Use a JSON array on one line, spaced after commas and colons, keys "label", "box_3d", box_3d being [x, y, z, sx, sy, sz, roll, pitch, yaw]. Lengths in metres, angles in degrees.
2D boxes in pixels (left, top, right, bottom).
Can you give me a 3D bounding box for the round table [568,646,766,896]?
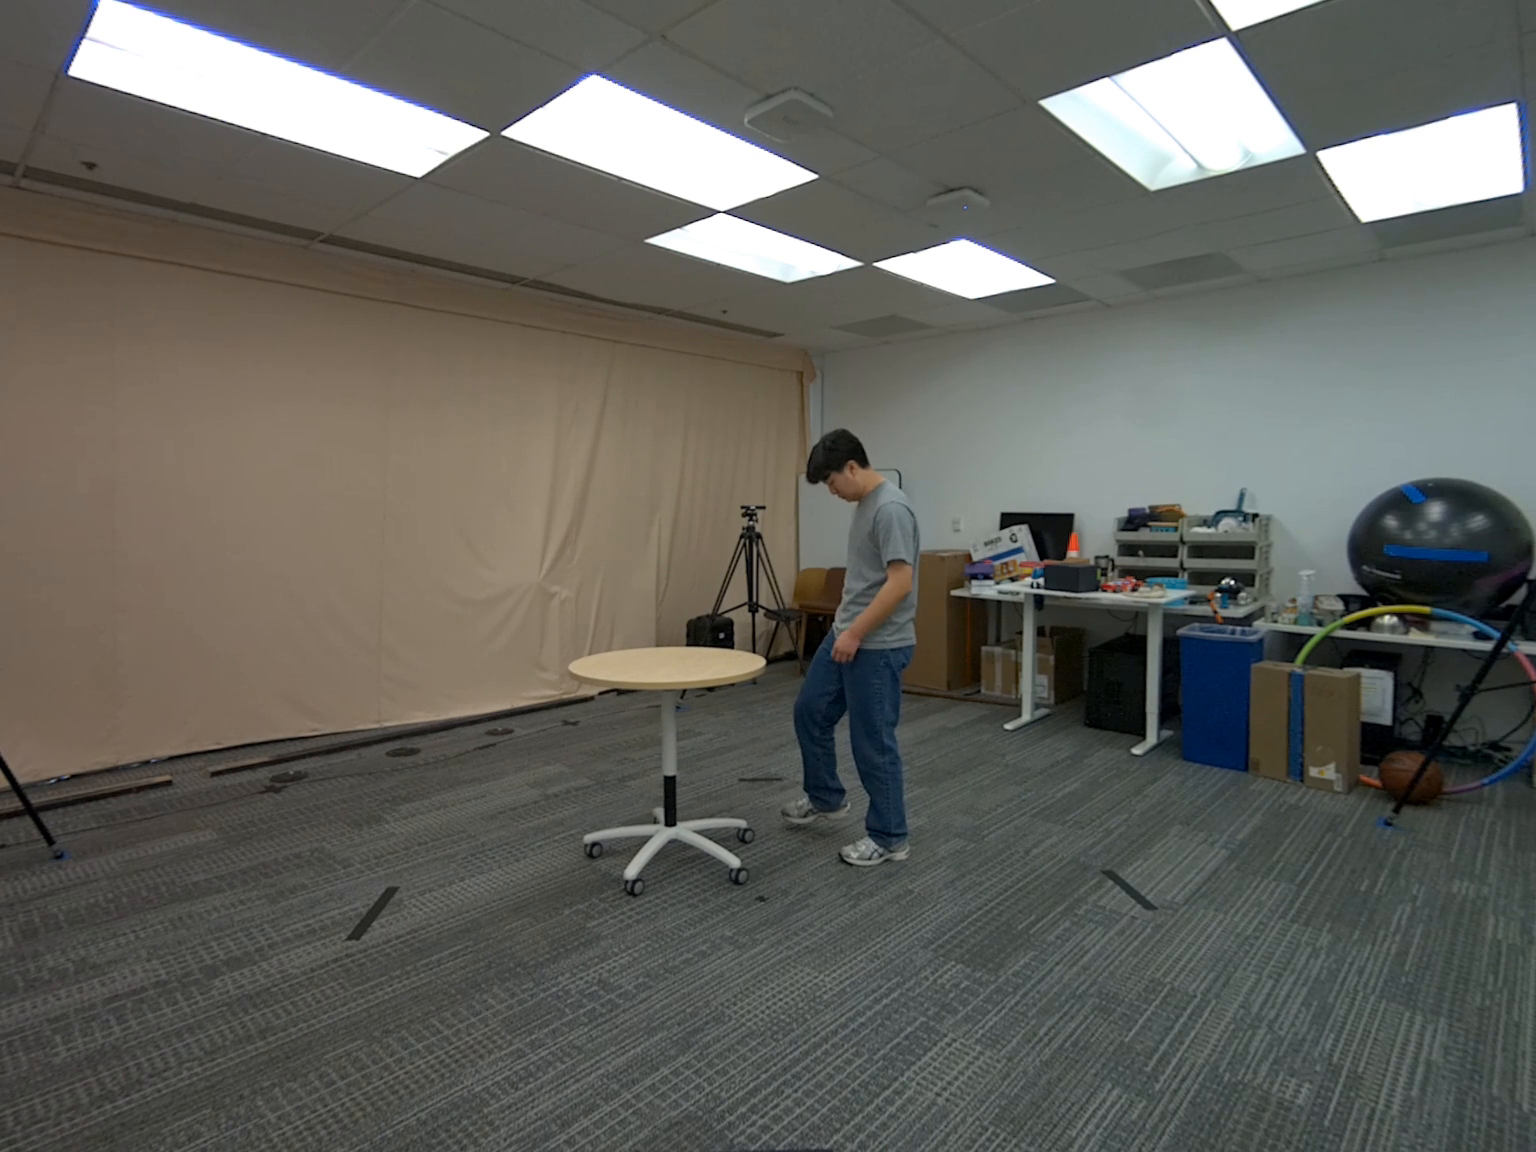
[{"label": "round table", "box_3d": [-0.377, 0.733, 3.306, 0.763, 0.792, 0.766, -1, 3, -2]}]
